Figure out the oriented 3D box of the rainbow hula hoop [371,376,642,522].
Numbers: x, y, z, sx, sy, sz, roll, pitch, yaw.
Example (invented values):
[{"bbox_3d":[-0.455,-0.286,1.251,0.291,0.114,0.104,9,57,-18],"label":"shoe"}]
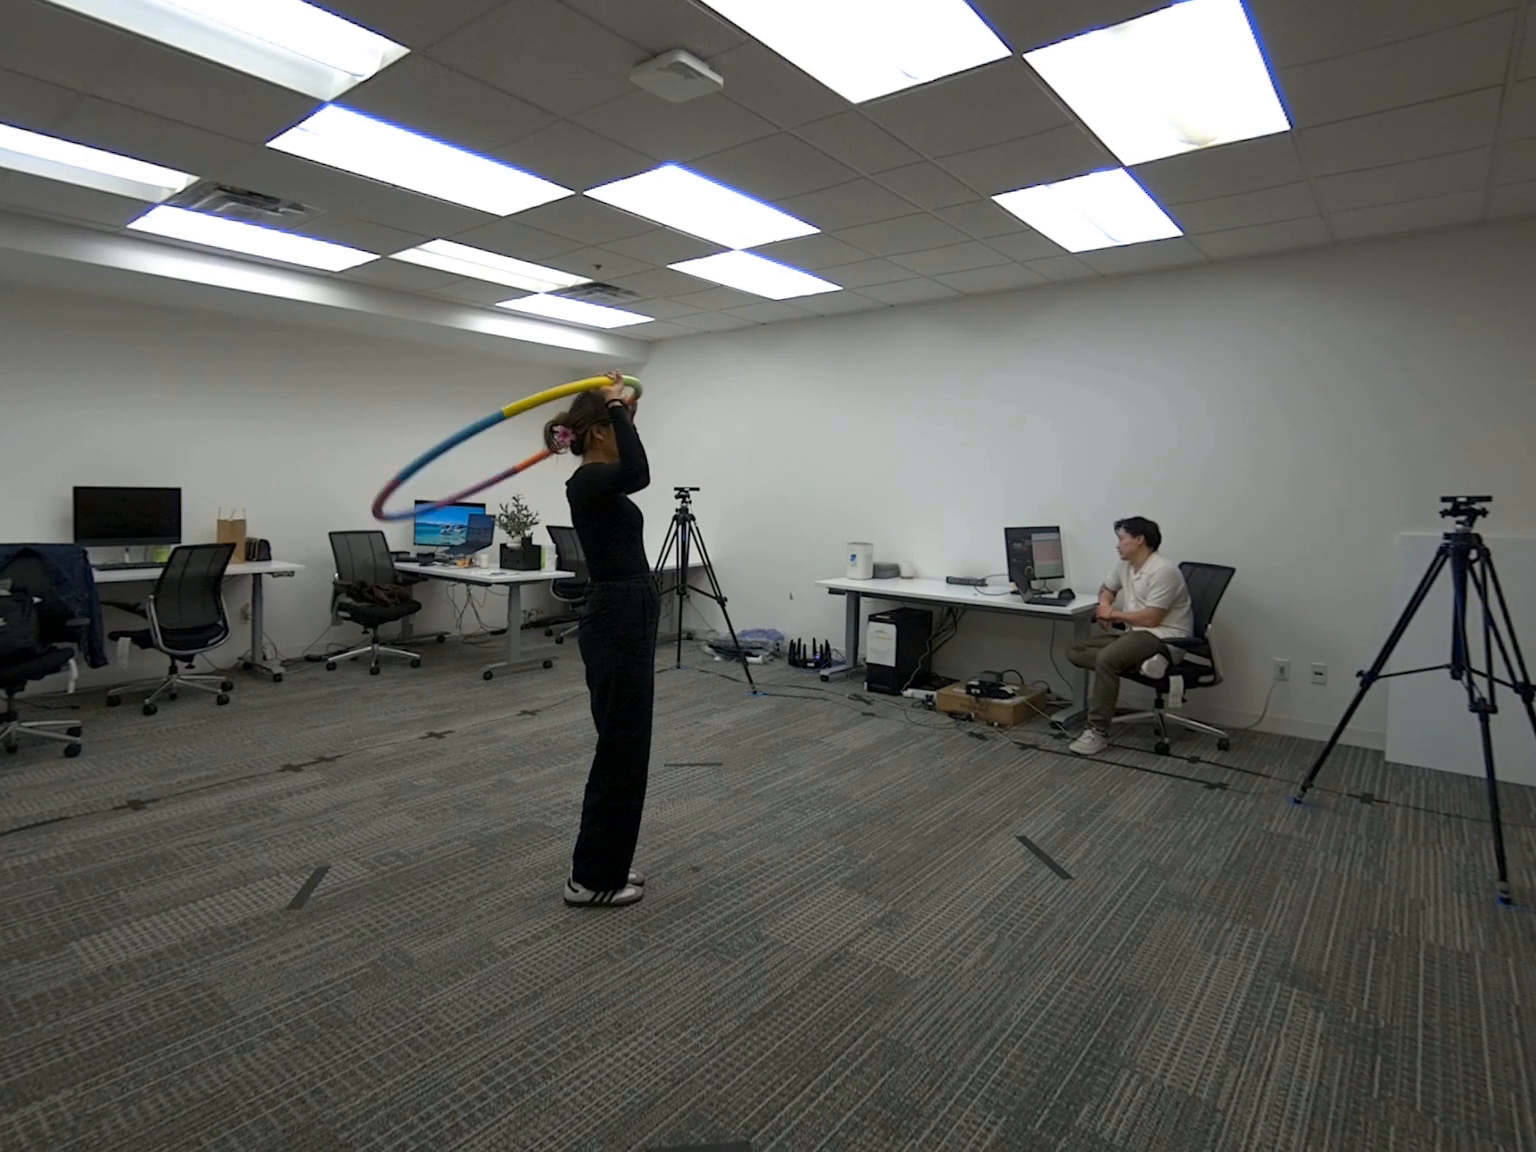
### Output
[{"bbox_3d":[-0.856,-0.436,2.881,0.978,0.035,0.982,-28,5,-1],"label":"rainbow hula hoop"}]
